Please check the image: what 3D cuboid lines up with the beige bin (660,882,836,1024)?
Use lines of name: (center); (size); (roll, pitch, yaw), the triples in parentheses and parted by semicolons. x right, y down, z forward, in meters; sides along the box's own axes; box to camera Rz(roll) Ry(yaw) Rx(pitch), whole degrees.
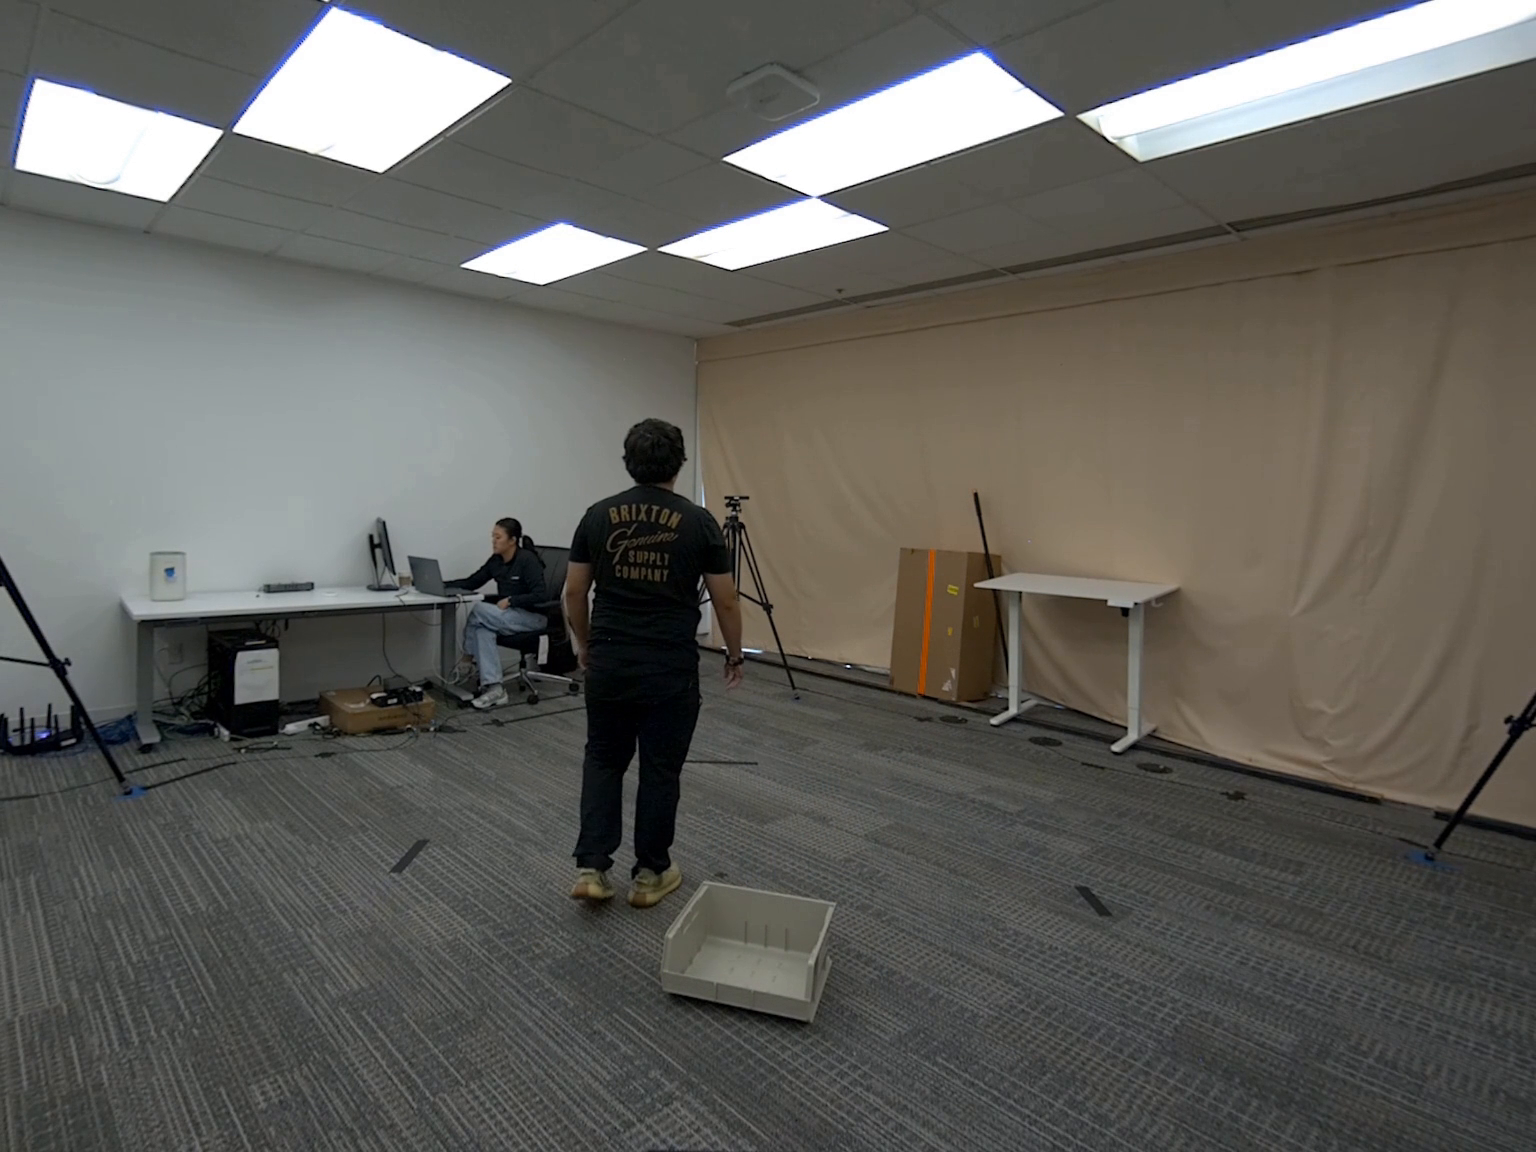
beige bin: (-0.048, 1.083, 2.416); (0.428, 0.188, 0.373); (2, 4, 15)
